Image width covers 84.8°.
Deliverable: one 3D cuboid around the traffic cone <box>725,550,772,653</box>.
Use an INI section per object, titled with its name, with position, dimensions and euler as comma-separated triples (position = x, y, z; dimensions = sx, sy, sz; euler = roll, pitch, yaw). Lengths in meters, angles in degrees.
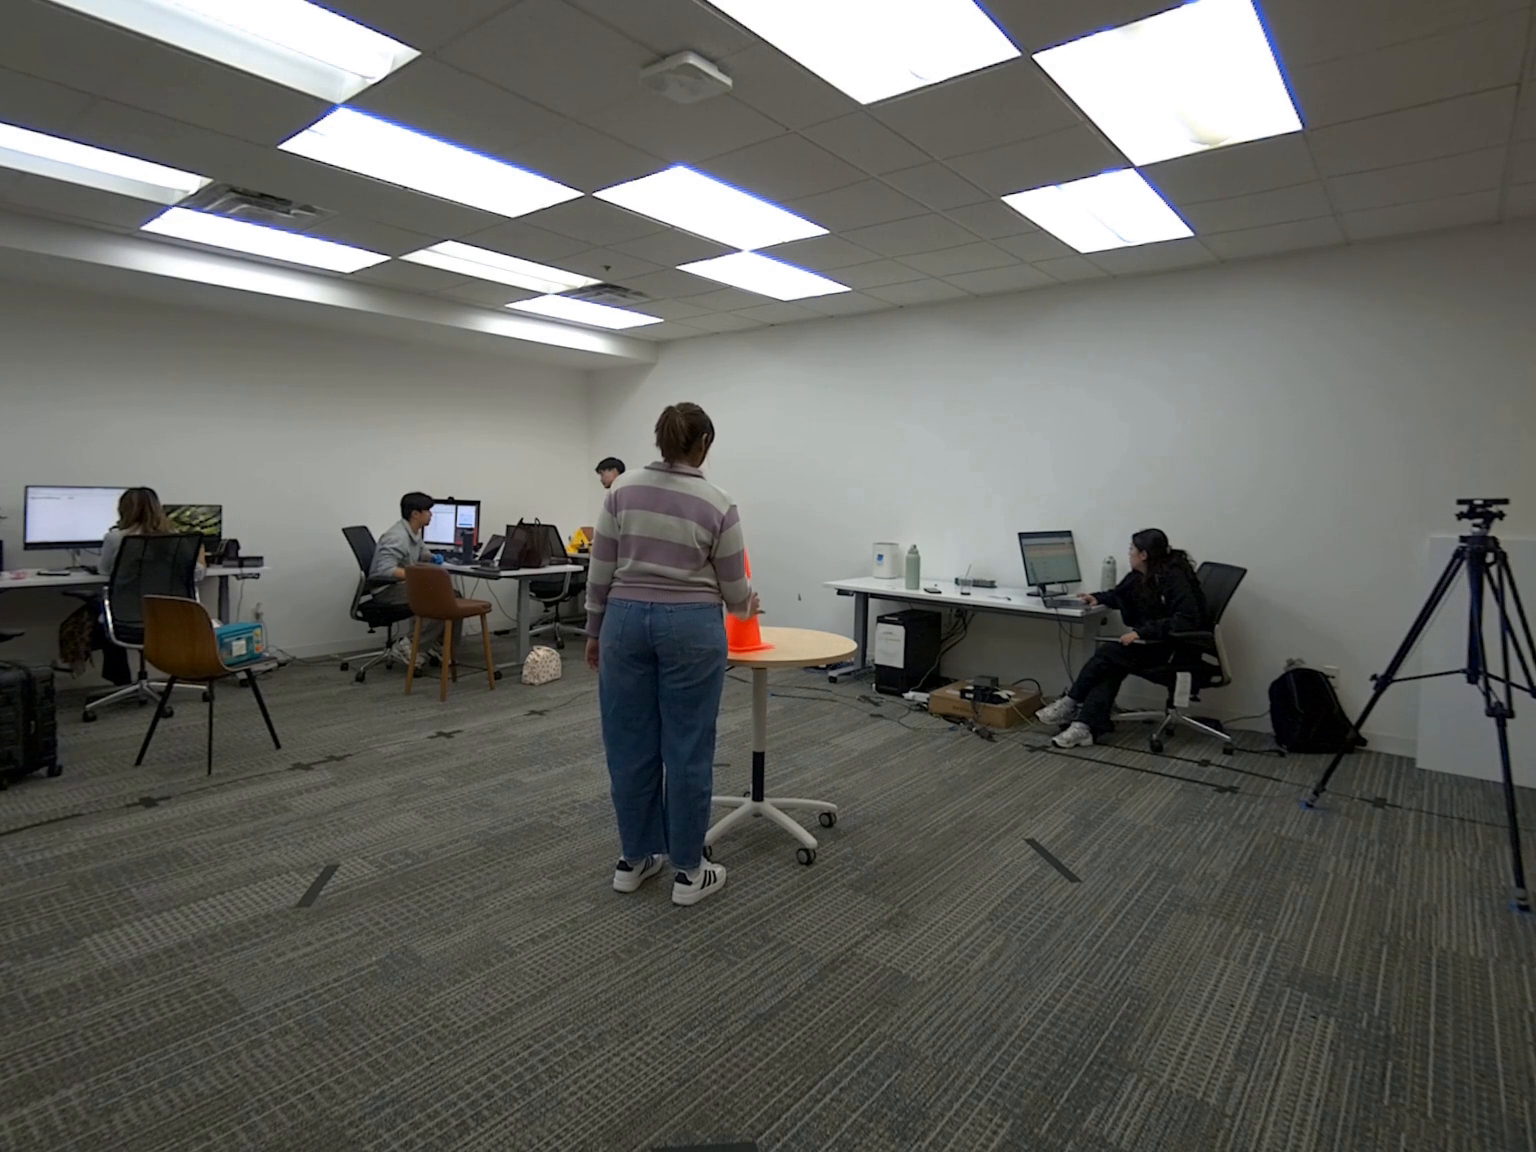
[traffic cone]
position = -0.103, 0.078, 3.283
dimensions = 0.210, 0.383, 0.198
euler = 4, 4, 44
